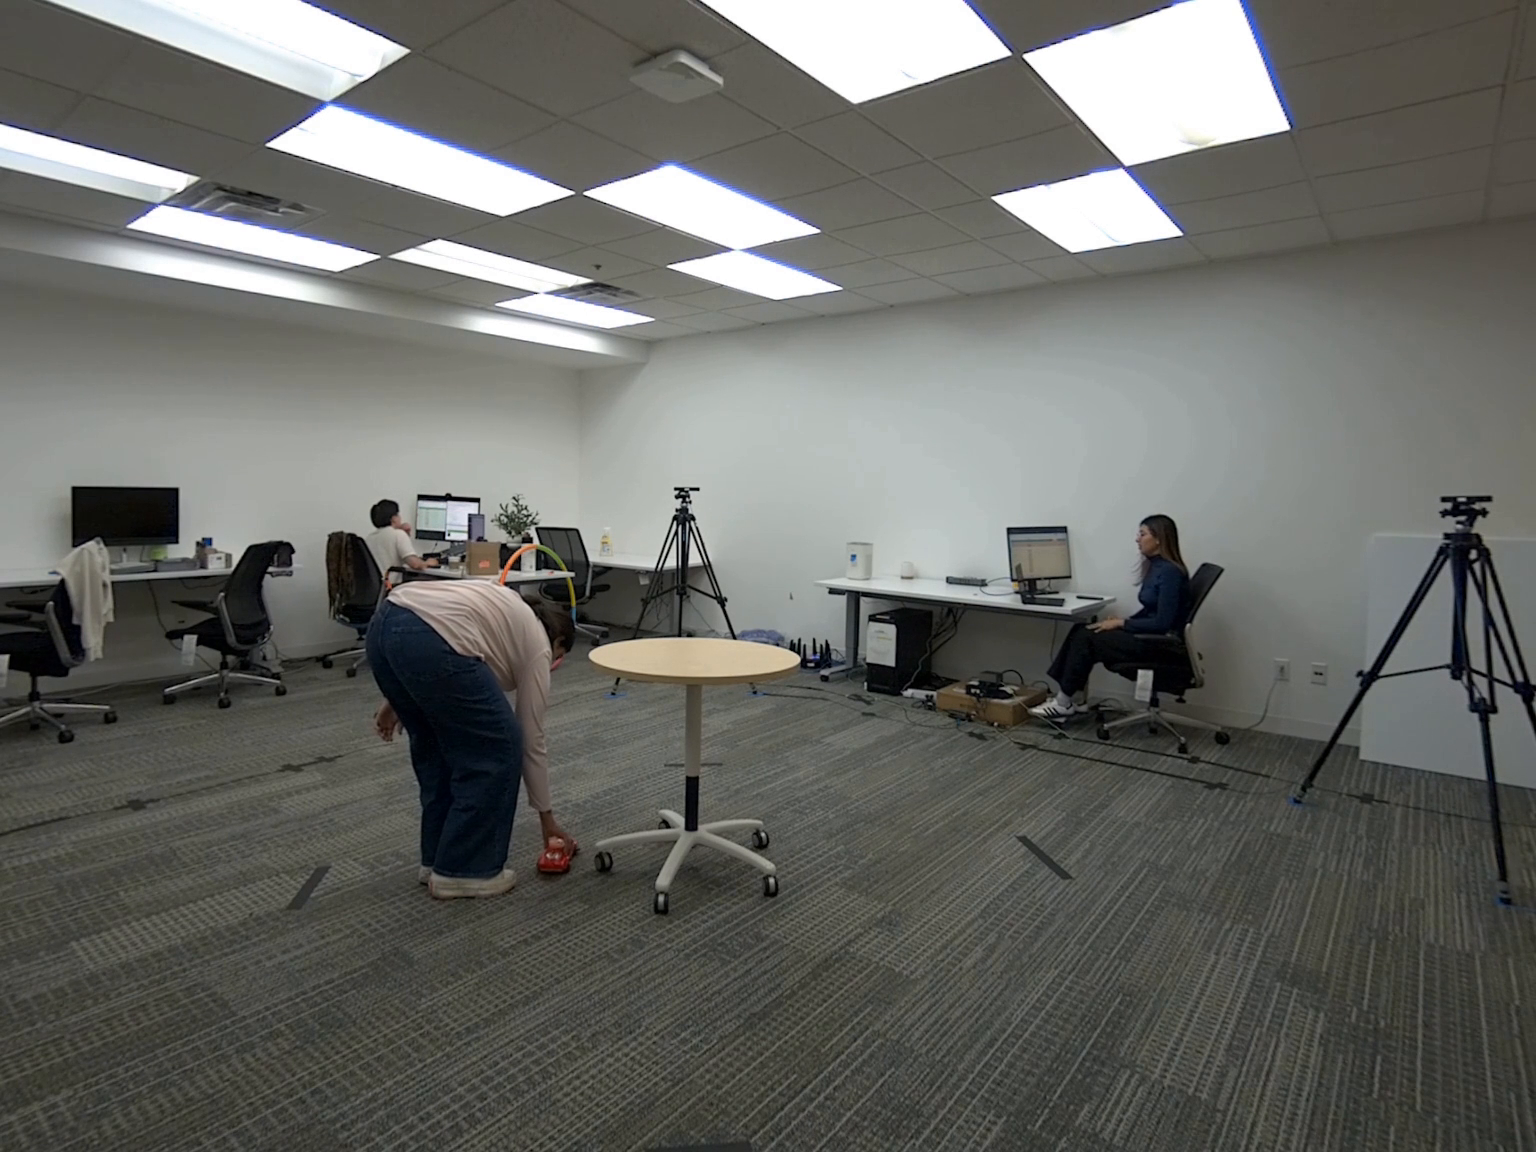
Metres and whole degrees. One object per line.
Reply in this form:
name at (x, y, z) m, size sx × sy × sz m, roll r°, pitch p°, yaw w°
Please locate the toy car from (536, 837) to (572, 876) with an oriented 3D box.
toy car at (-0.789, 1.031, 3.115) m, size 0.130 × 0.083 × 0.253 m, roll 1°, pitch -3°, yaw -2°
